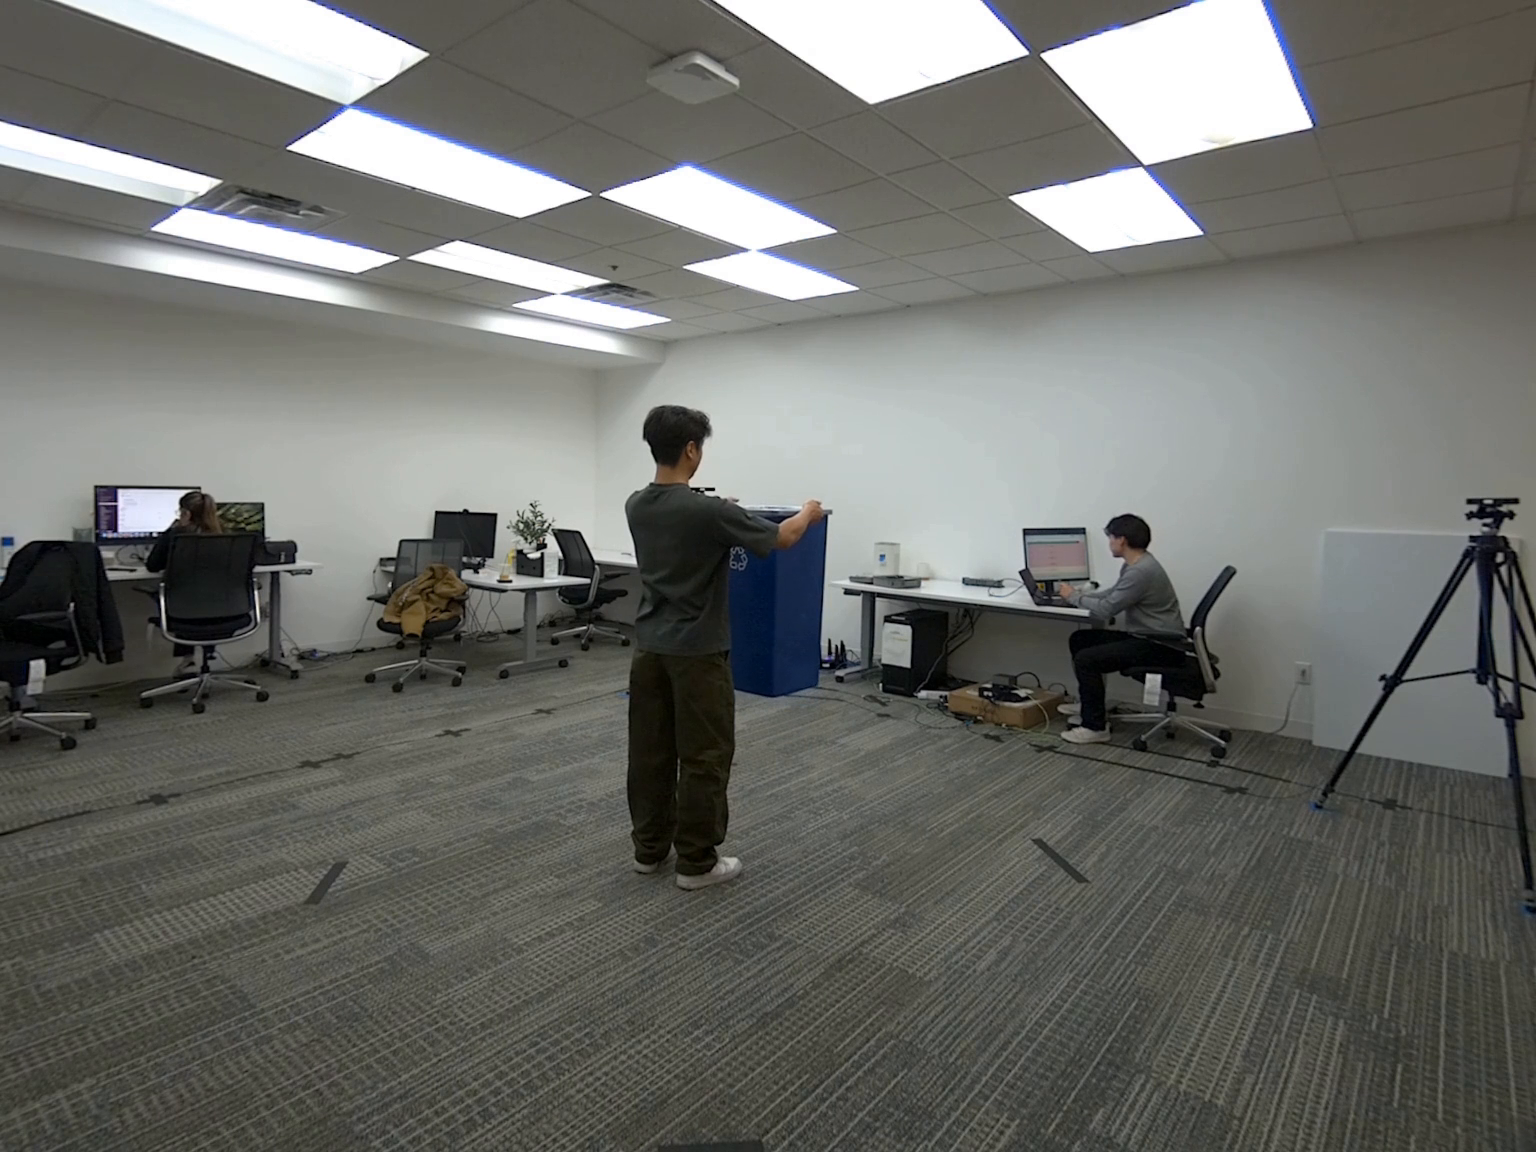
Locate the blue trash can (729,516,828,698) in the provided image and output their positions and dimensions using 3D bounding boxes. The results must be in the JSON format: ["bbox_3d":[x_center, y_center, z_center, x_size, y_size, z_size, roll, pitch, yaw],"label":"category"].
[{"bbox_3d":[-0.005,0.083,3.391,0.391,0.711,0.363,4,6,39],"label":"blue trash can"}]
